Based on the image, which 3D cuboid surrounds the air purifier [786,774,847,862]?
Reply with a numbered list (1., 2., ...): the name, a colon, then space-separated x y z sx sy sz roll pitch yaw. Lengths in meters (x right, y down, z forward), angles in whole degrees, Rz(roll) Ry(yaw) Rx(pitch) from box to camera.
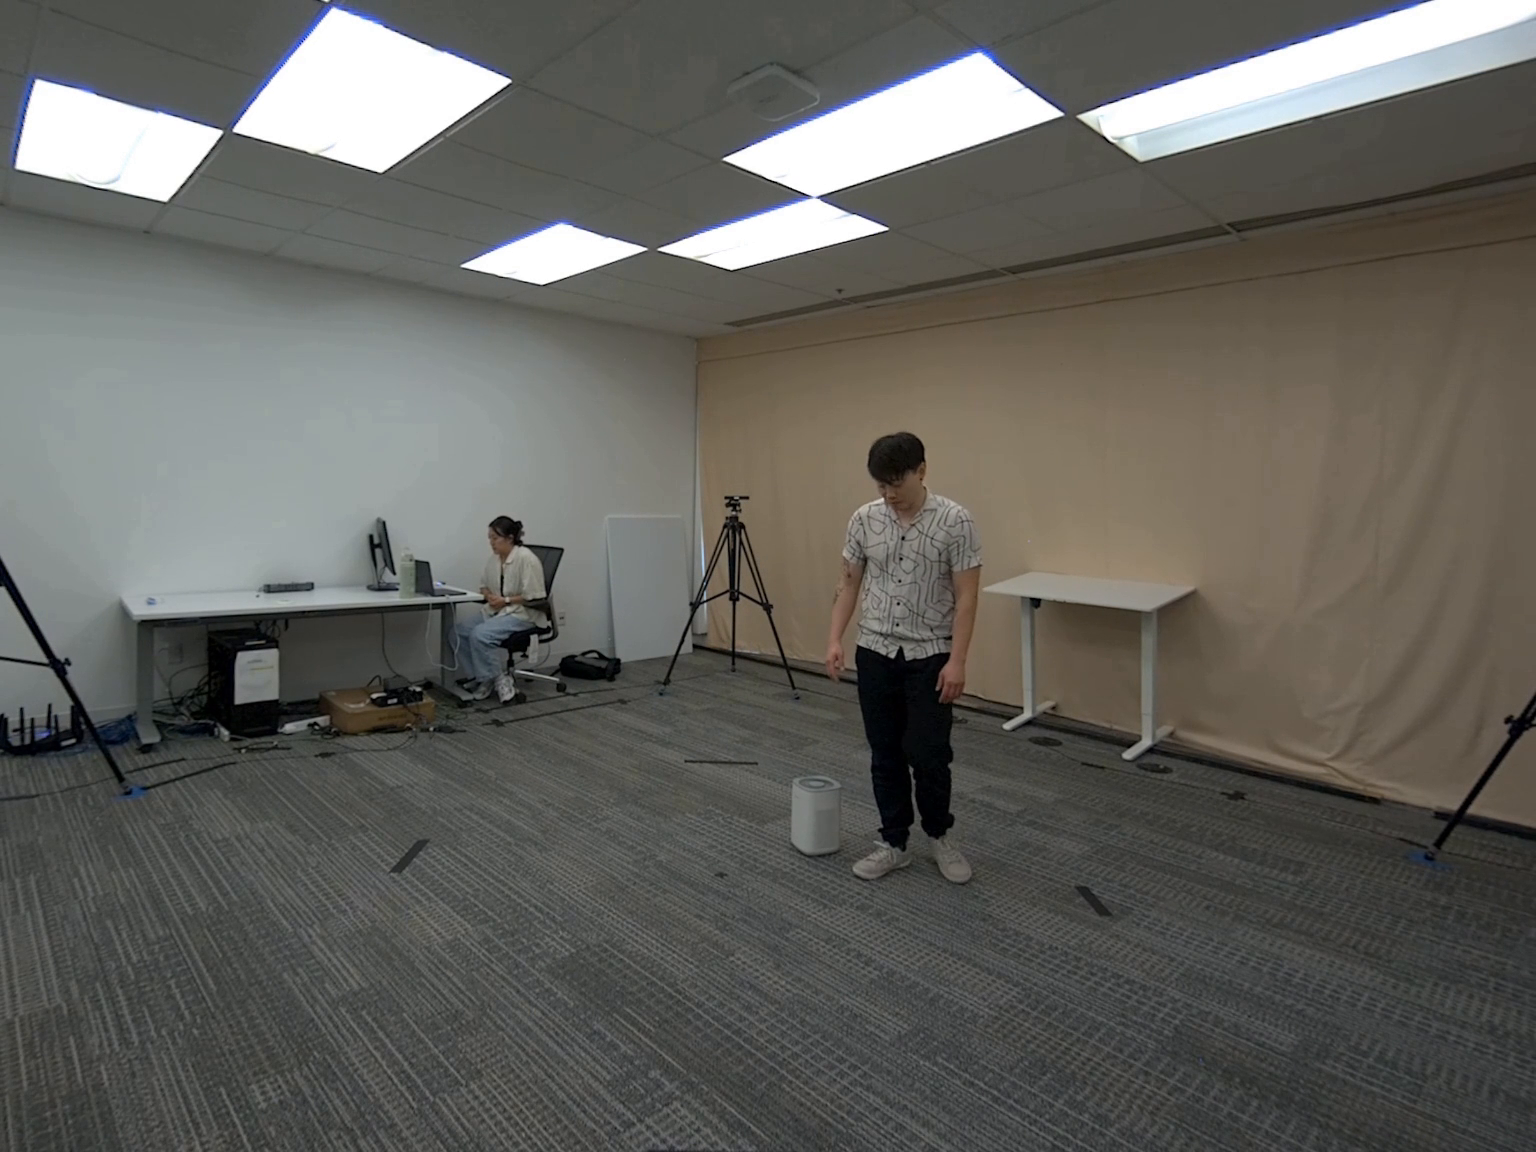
1. air purifier: 0.191 0.953 3.360 0.168 0.265 0.175 -1 2 -28
